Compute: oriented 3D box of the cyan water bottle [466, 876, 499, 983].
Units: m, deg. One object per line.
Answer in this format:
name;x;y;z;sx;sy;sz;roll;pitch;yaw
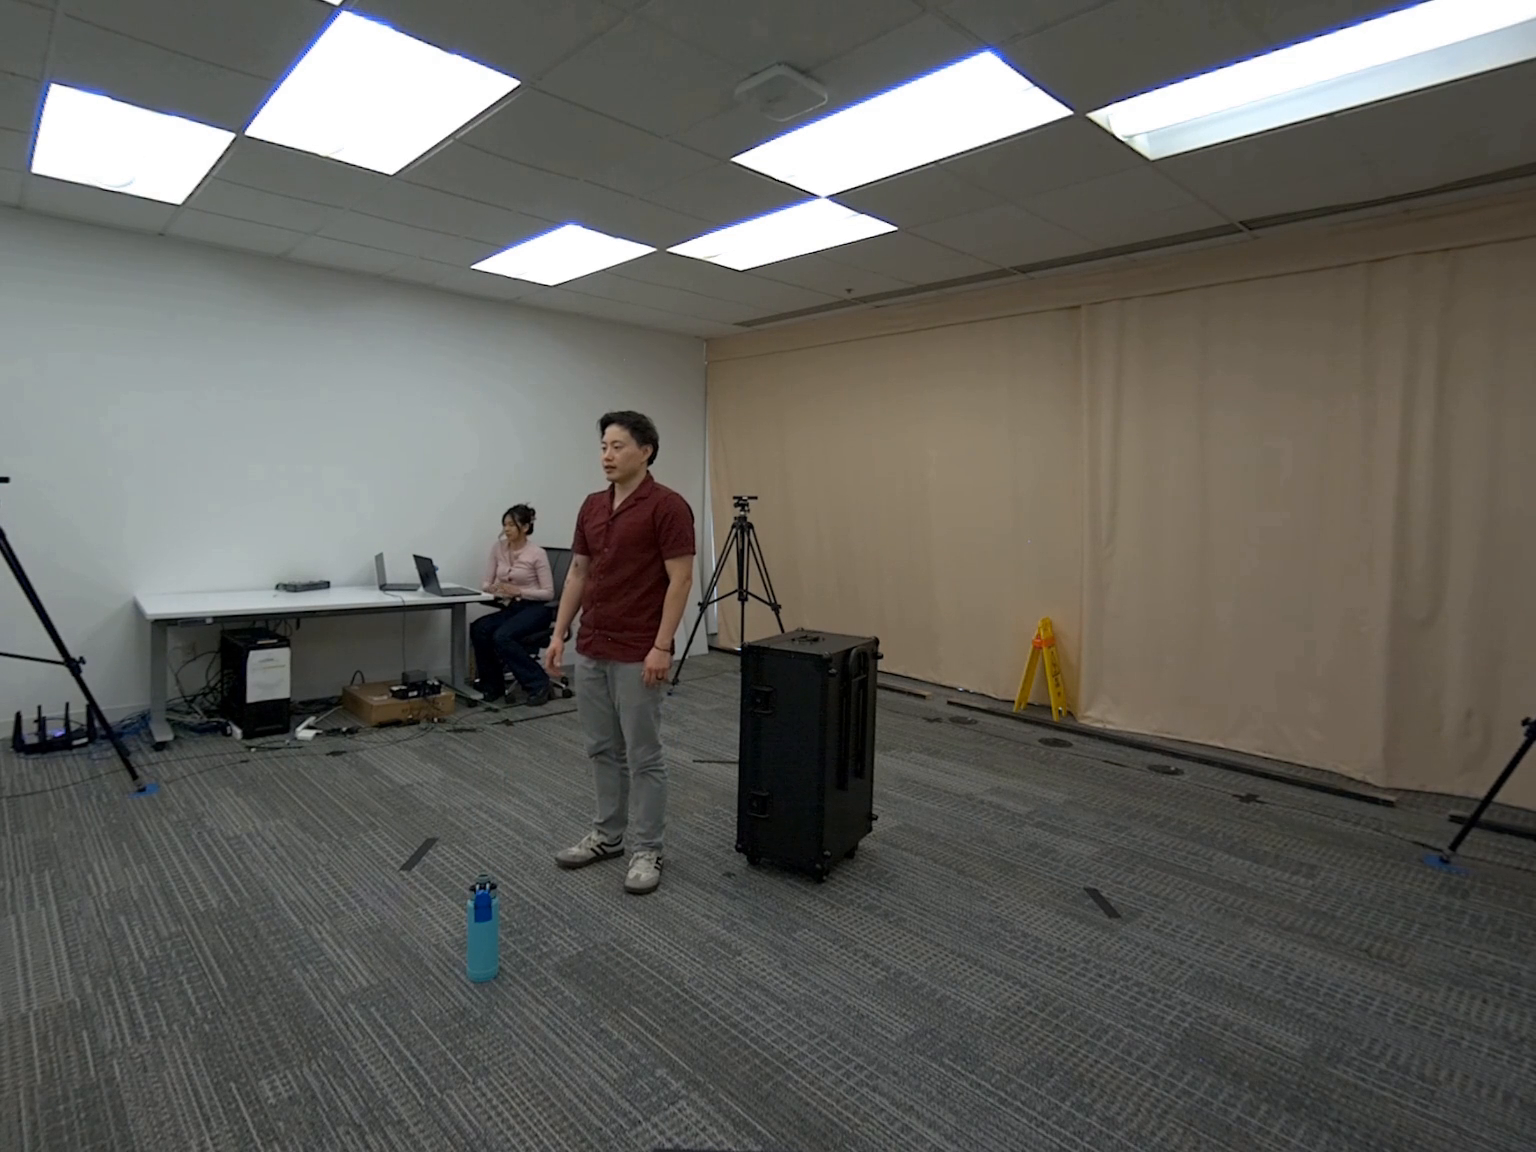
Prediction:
cyan water bottle;-0.836;1.015;2.415;0.092;0.282;0.093;2;4;-2
